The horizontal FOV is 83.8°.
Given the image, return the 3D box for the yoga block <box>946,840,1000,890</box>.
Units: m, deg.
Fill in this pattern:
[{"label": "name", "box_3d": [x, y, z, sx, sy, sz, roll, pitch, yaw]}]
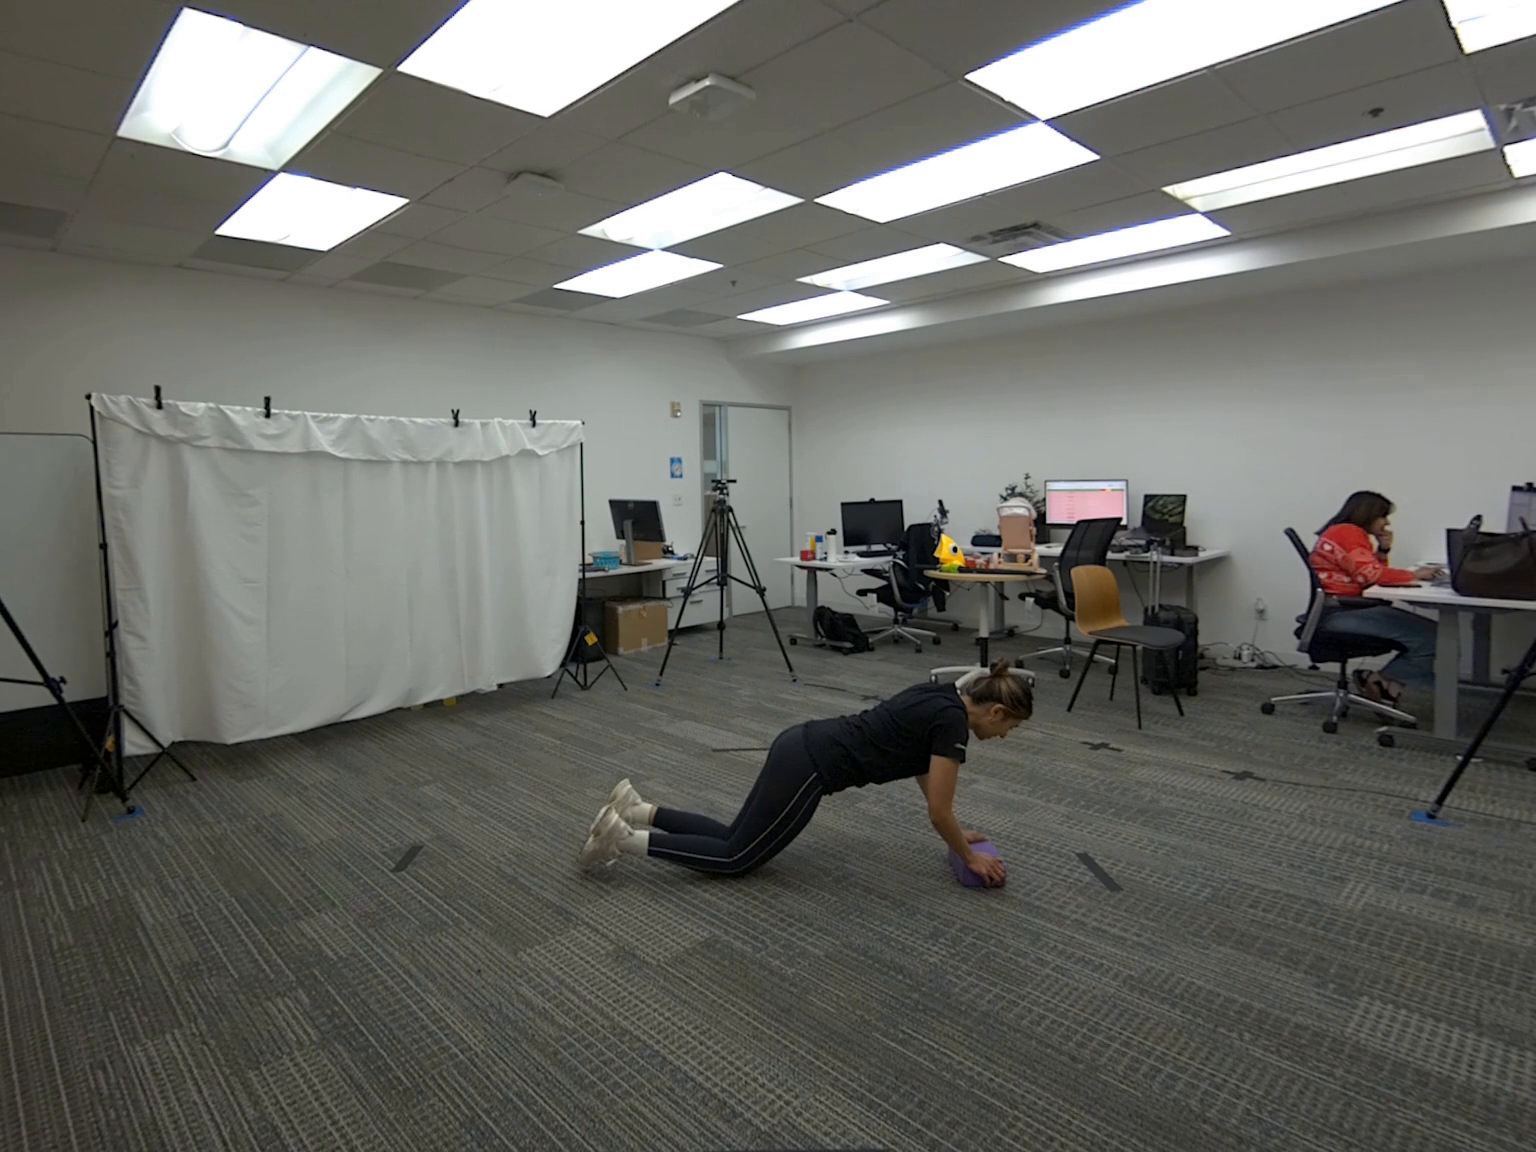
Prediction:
[{"label": "yoga block", "box_3d": [0.730, 1.002, 3.000, 0.149, 0.076, 0.230, -1, 8, 0]}]
